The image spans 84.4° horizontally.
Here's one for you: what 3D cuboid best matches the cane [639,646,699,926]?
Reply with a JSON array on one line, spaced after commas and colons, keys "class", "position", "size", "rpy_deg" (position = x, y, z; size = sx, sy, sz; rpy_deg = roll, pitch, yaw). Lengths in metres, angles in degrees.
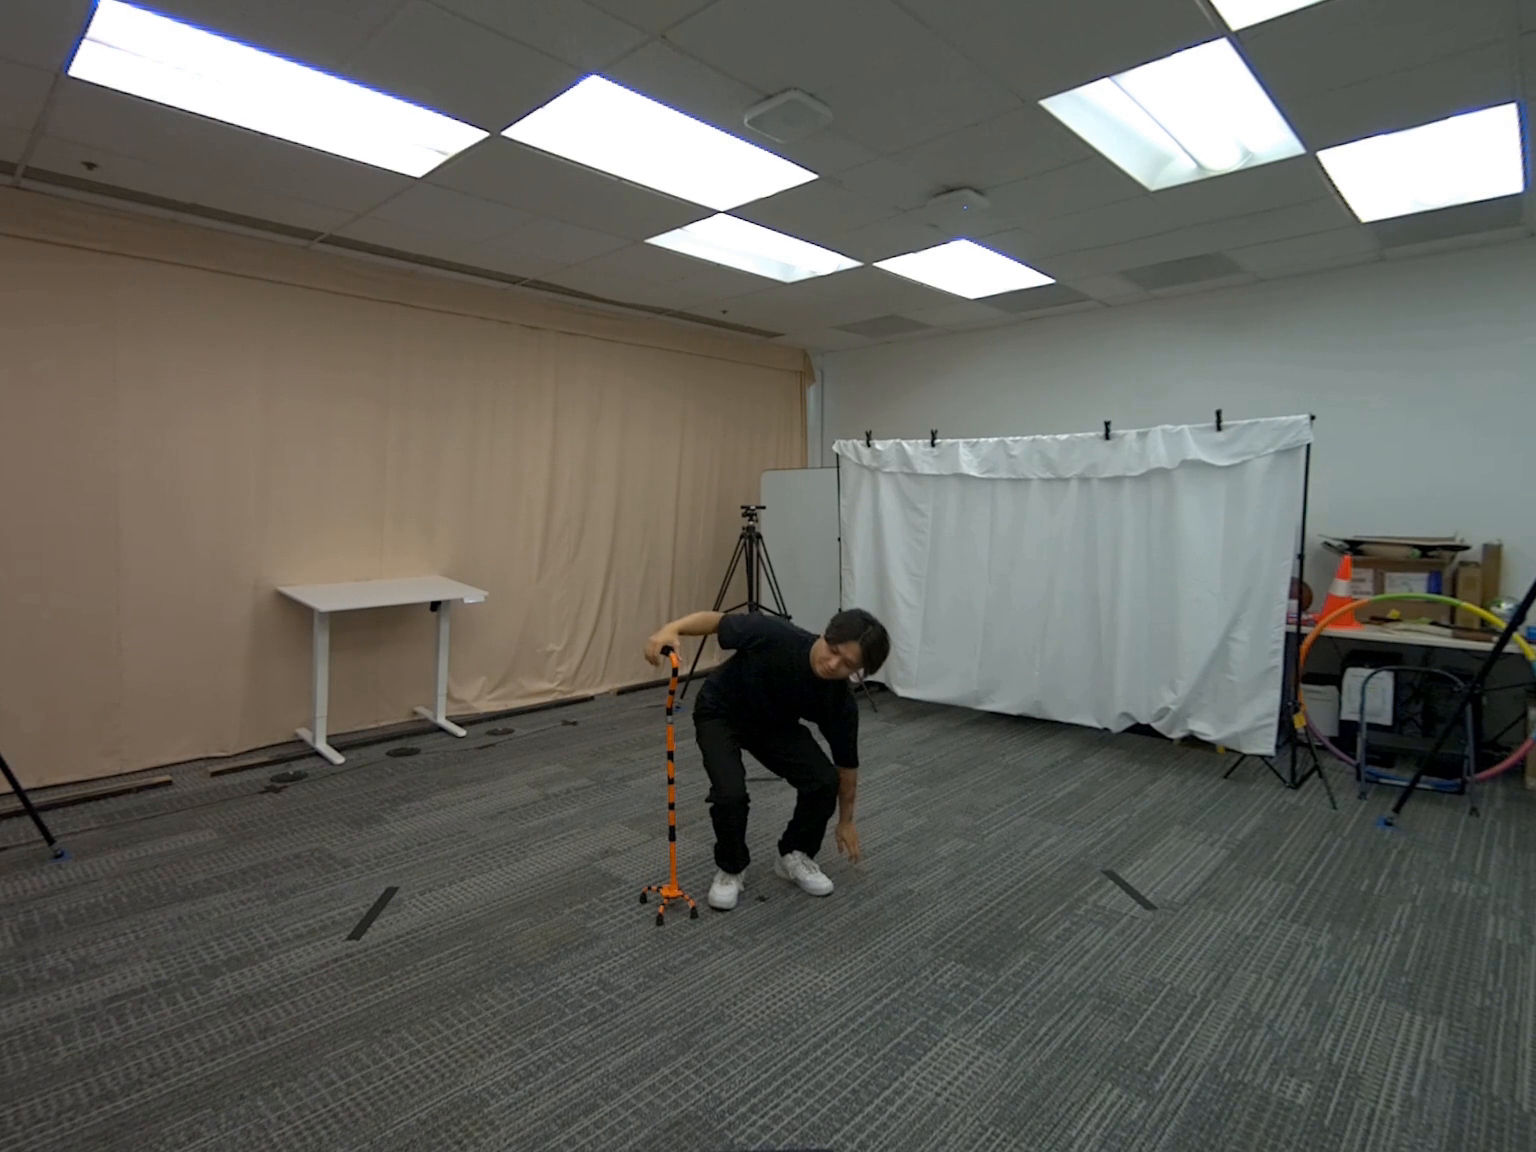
[{"class": "cane", "position": [-0.352, 0.703, 2.884], "size": [0.148, 0.906, 0.212], "rpy_deg": [-2, 4, -27]}]
